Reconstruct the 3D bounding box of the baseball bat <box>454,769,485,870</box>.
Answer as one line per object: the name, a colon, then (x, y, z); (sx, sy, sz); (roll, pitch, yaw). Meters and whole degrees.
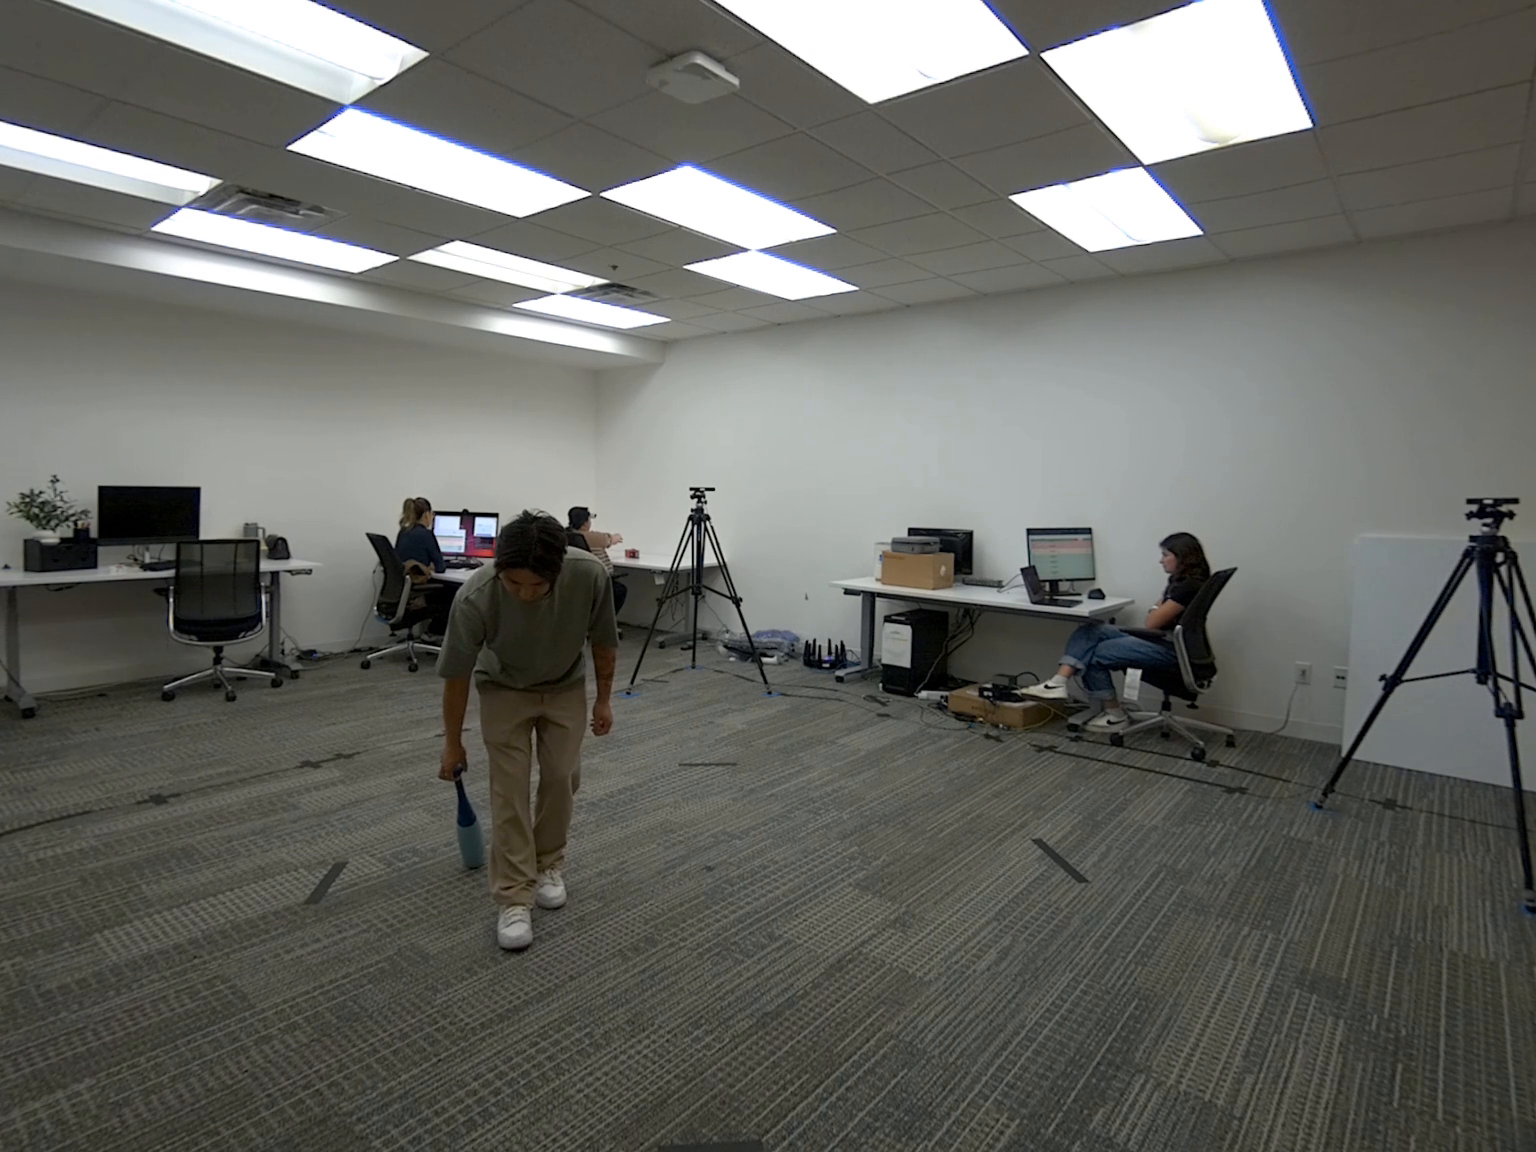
baseball bat: (-1.069, 0.834, 2.947); (0.089, 0.528, 0.091); (1, 39, -3)
